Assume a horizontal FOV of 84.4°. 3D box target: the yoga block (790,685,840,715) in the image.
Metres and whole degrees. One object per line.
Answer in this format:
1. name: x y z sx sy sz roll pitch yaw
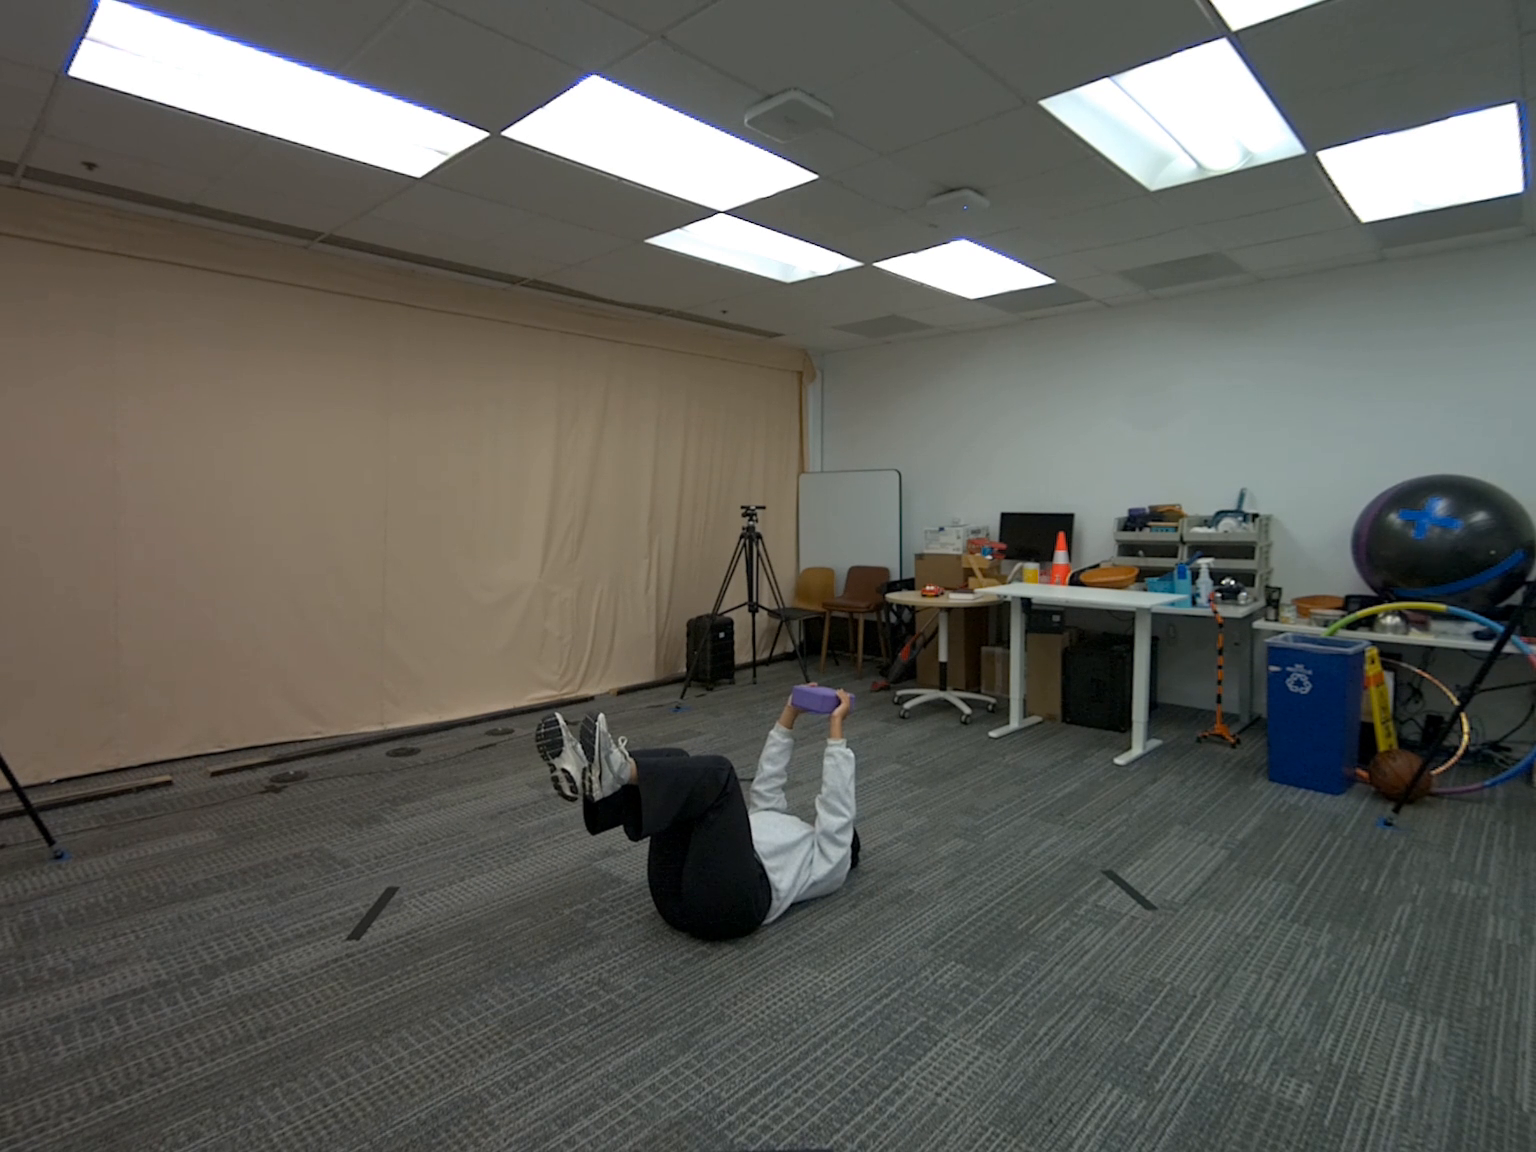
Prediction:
1. yoga block: 0.216 0.475 3.225 0.154 0.076 0.221 9 -1 37
